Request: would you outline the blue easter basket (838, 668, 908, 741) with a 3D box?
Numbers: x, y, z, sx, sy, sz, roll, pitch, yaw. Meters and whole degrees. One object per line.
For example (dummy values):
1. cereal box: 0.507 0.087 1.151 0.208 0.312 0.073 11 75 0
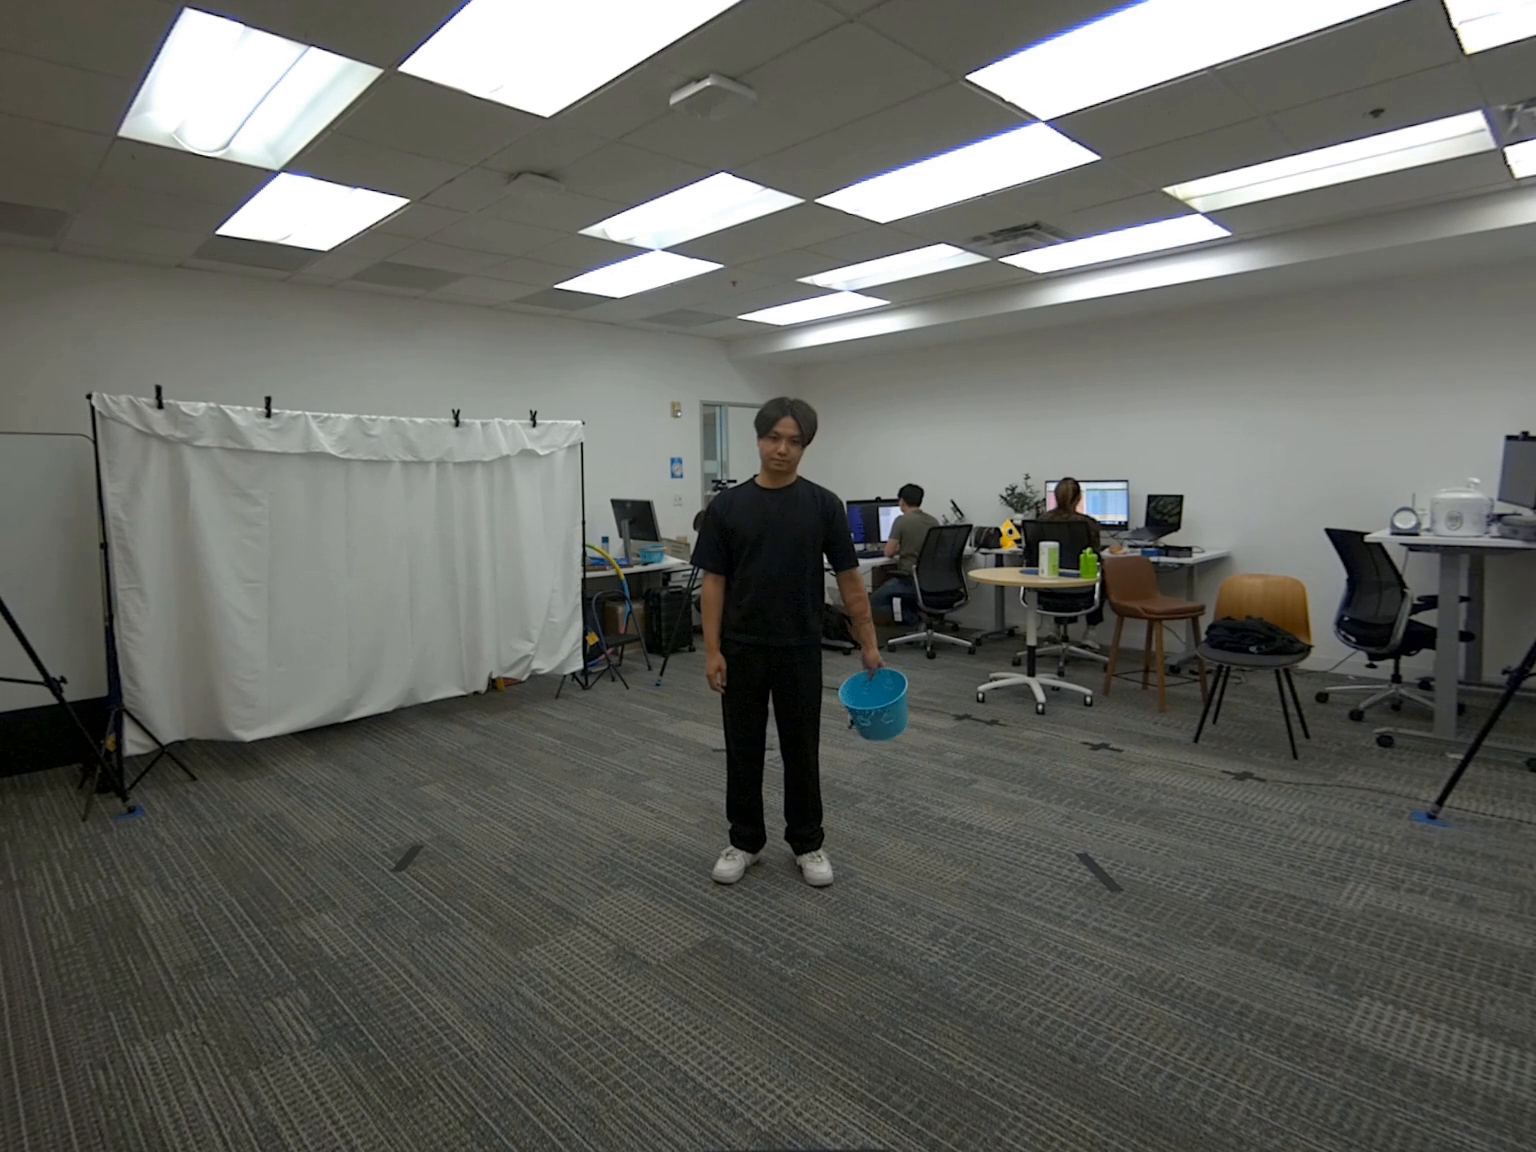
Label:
1. blue easter basket: 0.366 0.434 2.897 0.244 0.152 0.248 -15 23 5
